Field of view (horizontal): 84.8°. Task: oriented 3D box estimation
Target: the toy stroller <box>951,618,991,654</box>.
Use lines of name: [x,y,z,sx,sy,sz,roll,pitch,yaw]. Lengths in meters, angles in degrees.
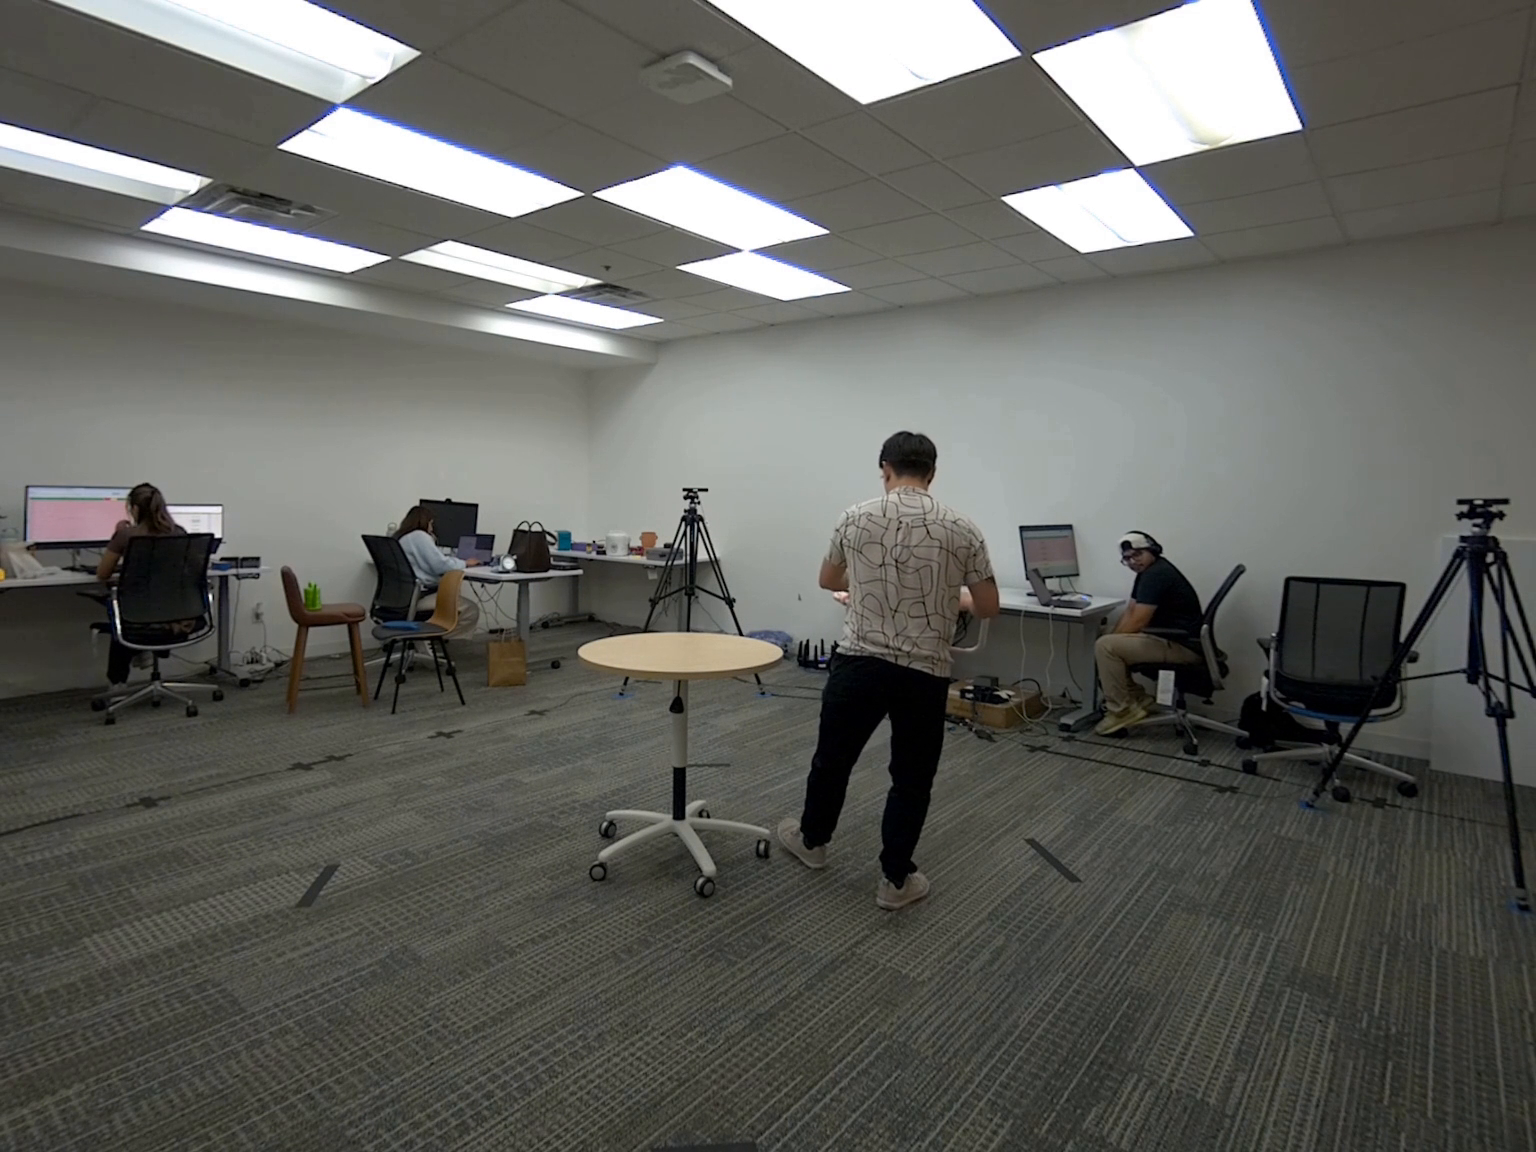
toy stroller: [0.510,0.135,3.285,0.332,0.278,0.556,-2,18,-32]
